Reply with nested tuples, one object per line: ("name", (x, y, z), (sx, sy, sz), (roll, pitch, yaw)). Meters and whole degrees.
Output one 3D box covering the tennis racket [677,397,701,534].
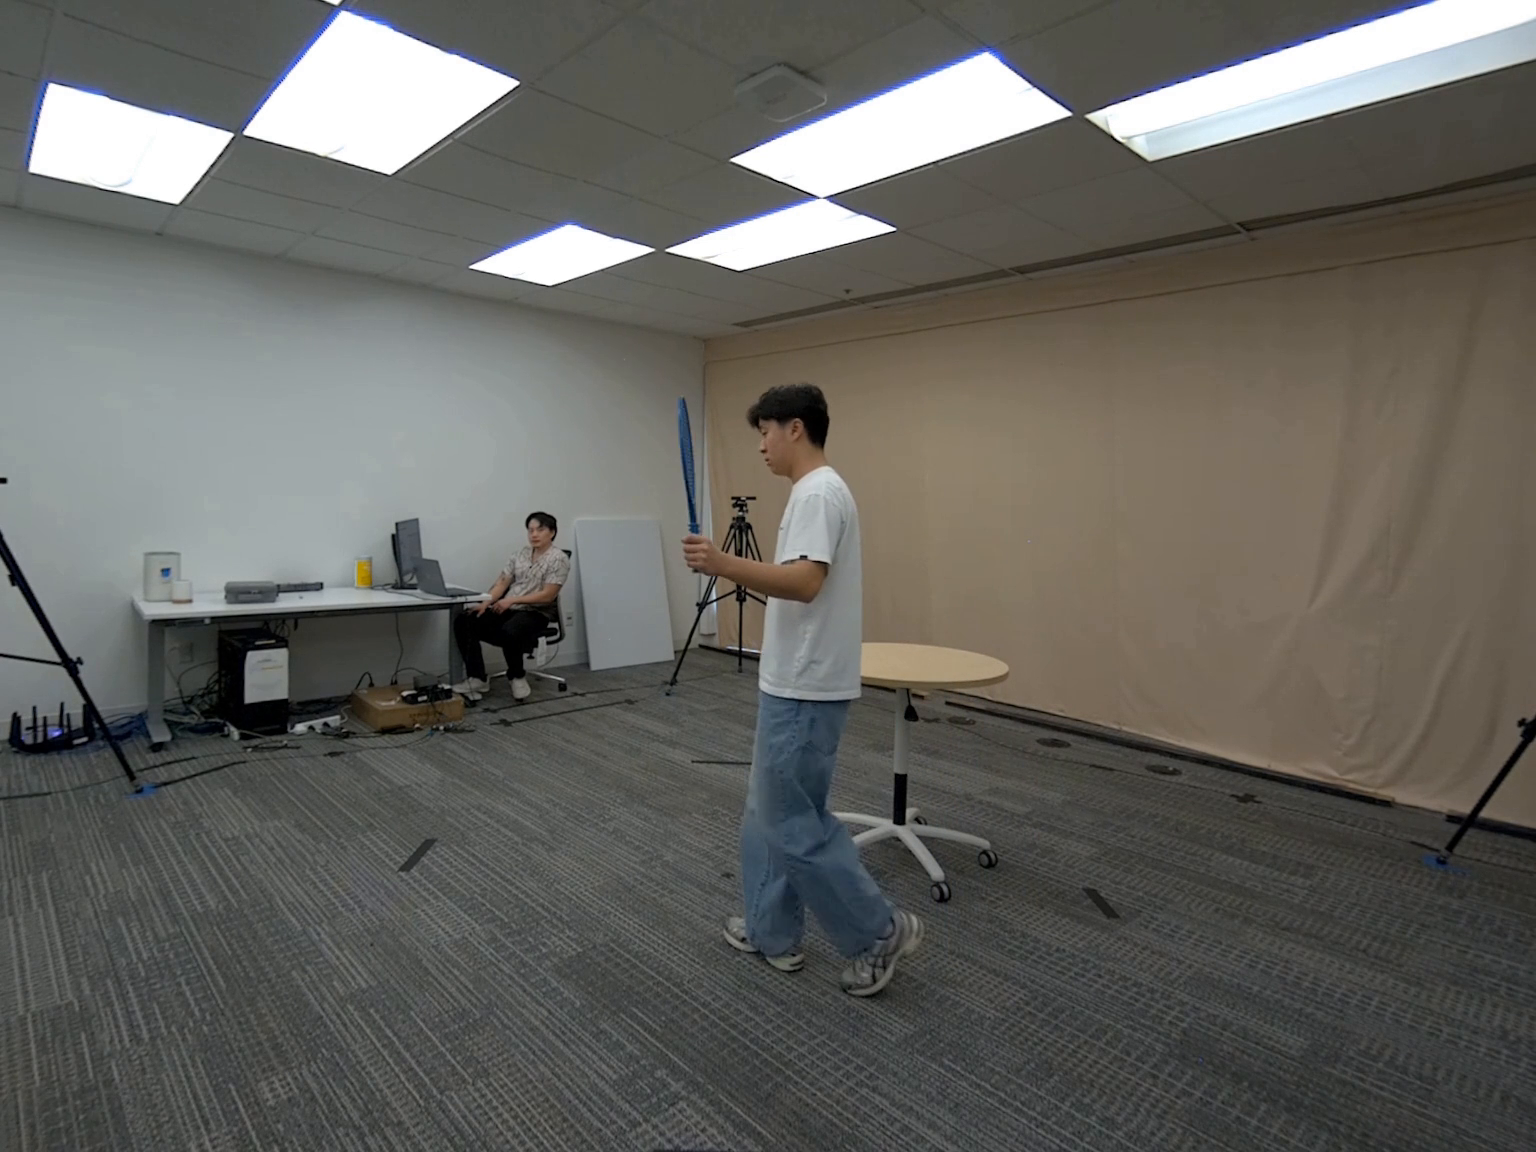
("tennis racket", (-0.201, -0.218, 2.064), (0.032, 0.432, 0.213), (-5, 3, 3))
